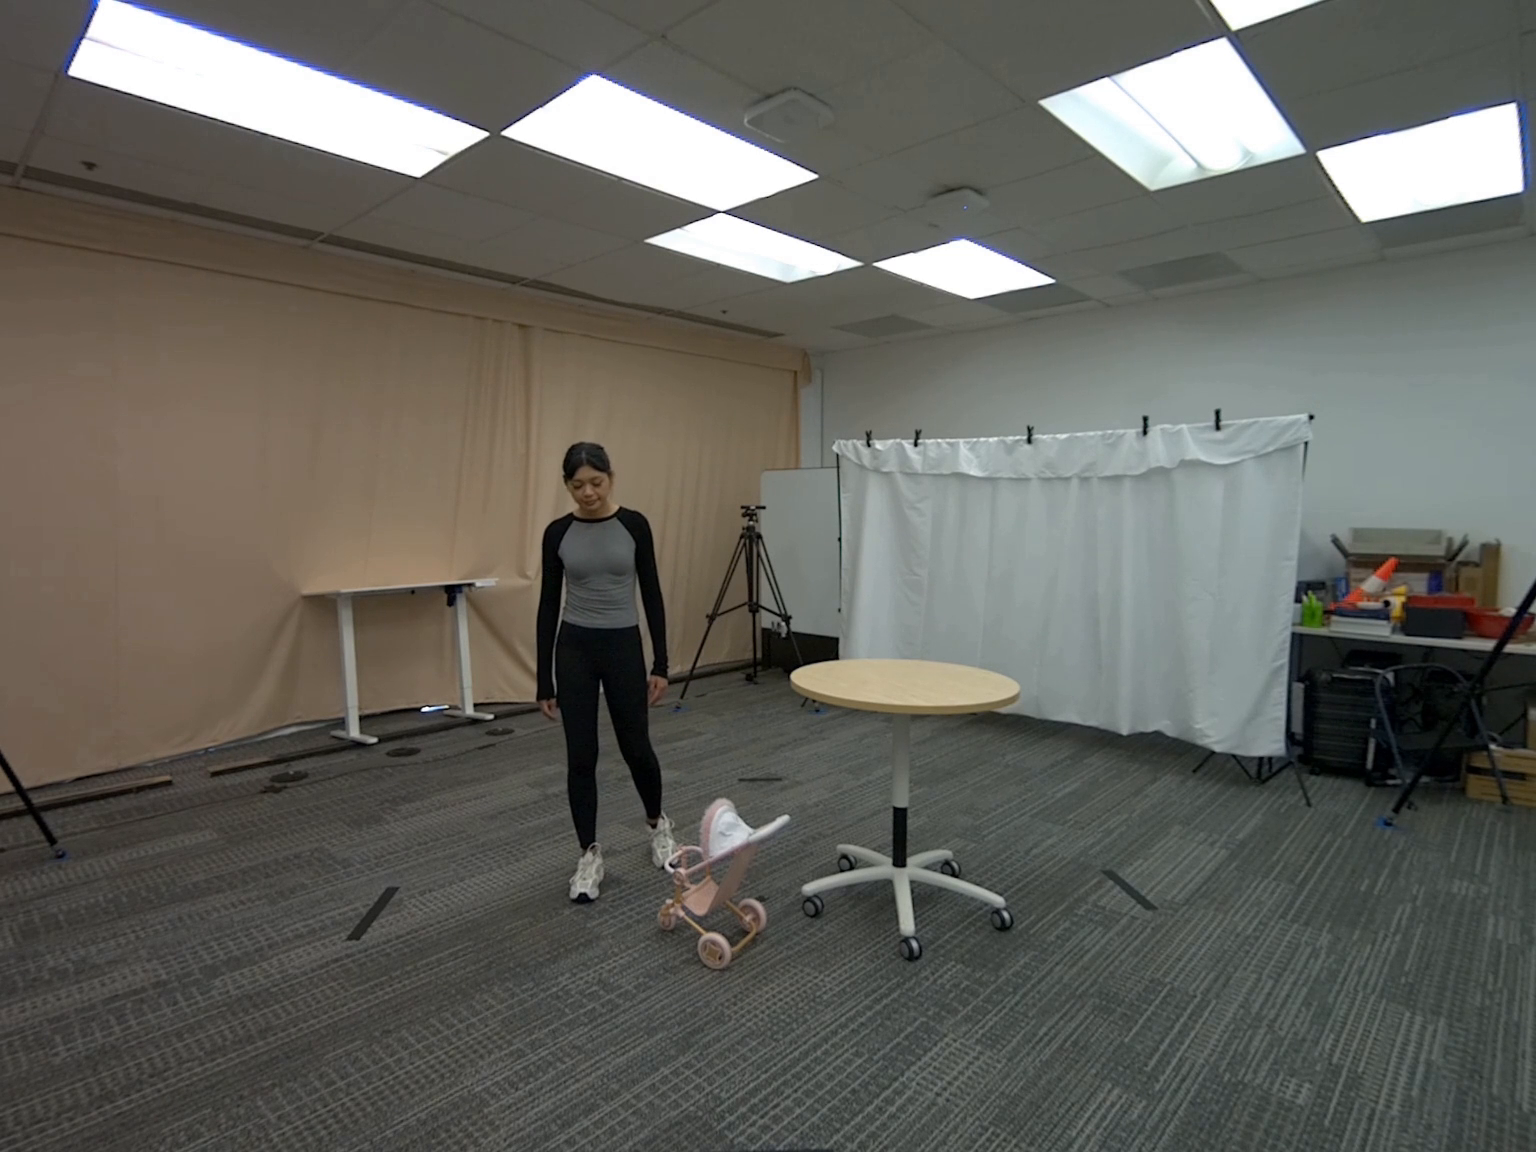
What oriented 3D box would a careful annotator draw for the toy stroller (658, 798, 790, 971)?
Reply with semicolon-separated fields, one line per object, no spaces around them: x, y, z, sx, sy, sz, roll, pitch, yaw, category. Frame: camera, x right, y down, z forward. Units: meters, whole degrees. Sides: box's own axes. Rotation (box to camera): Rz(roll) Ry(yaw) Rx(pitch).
-0.163;0.946;2.666;0.352;0.533;0.273;20;12;30;toy stroller
